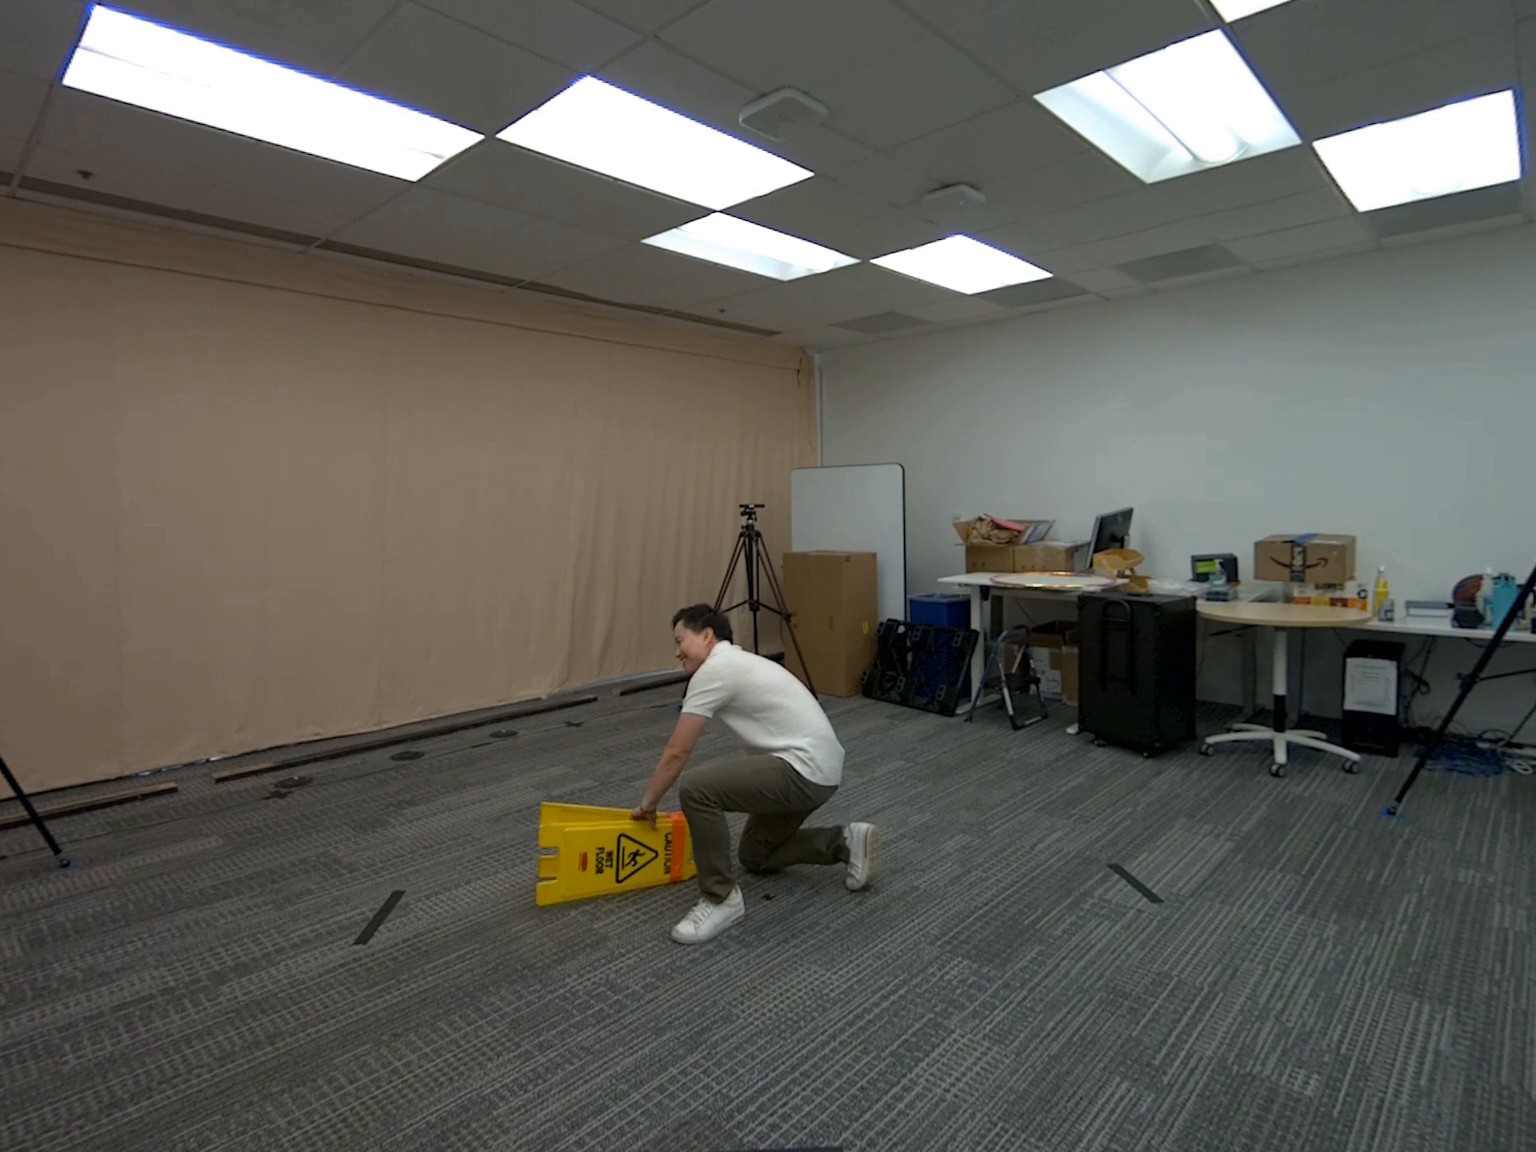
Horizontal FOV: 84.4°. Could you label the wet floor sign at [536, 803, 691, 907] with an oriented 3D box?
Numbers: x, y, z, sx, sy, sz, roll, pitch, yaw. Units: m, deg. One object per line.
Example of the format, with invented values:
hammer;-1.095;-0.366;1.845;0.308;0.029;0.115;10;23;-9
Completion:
wet floor sign;-0.521;1.014;3.113;0.638;0.282;0.293;2;0;-12
